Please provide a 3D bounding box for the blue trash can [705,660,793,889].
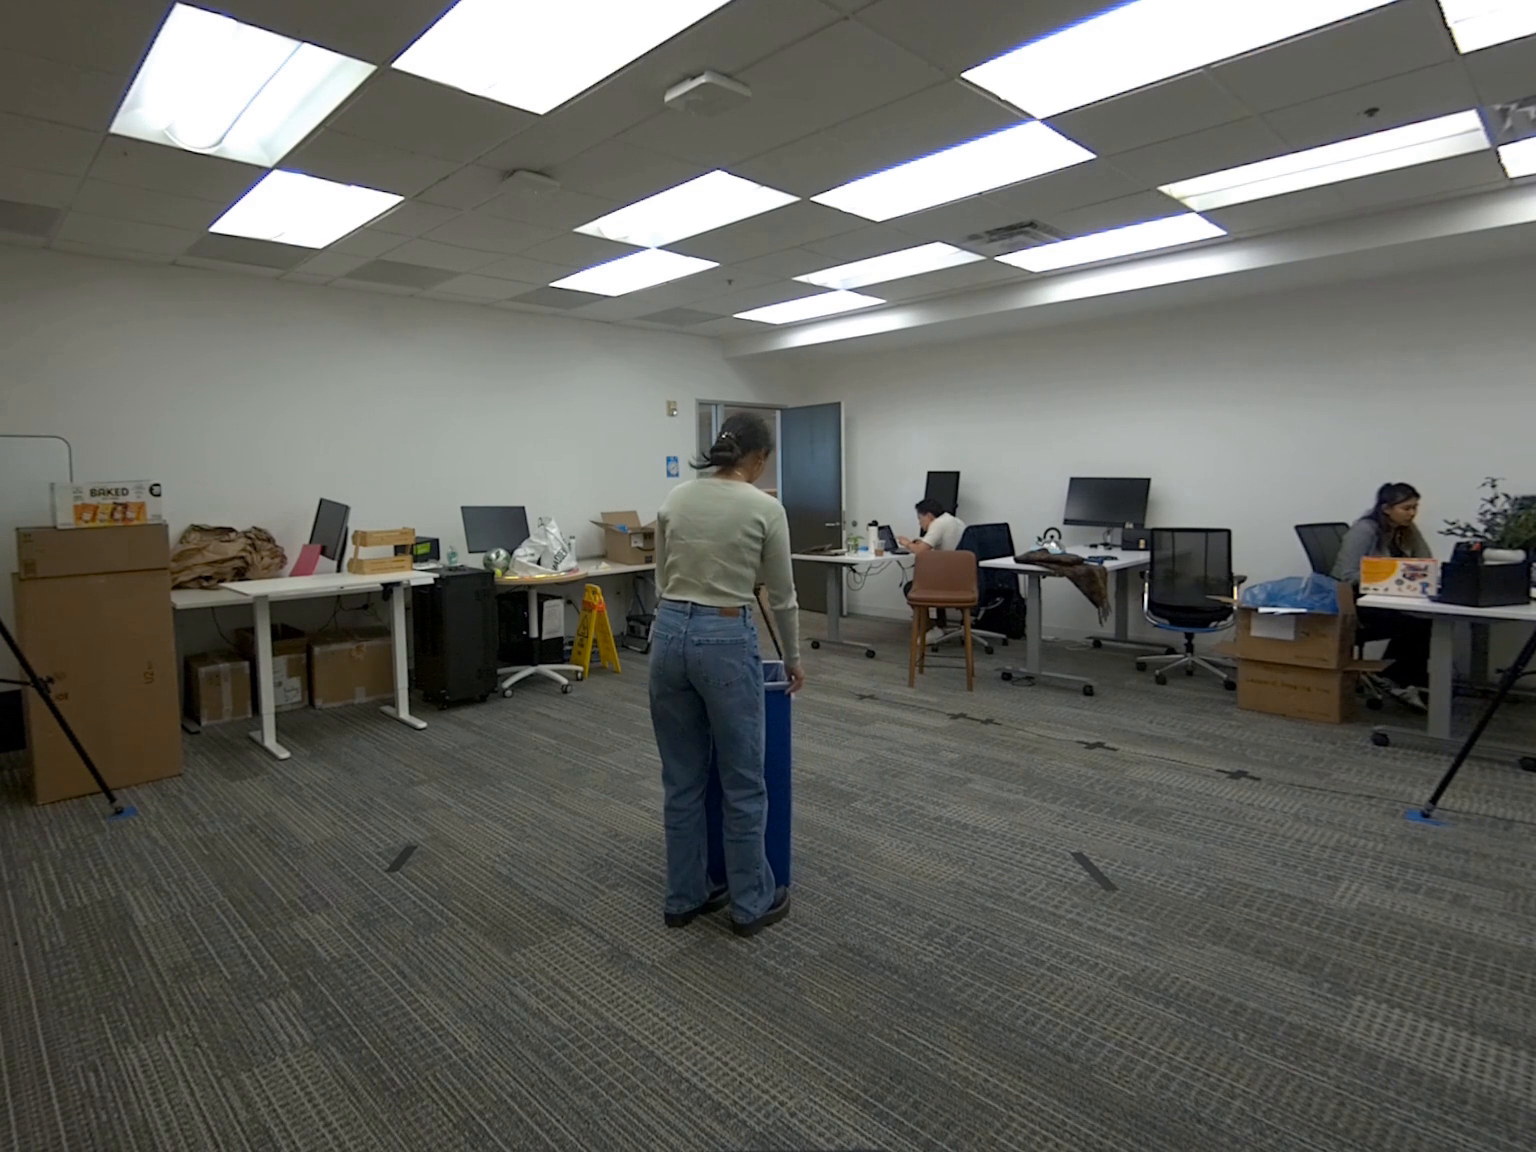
[{"bbox_3d":[-0.090,0.696,3.029,0.373,0.711,0.380,-1,4,-3],"label":"blue trash can"}]
